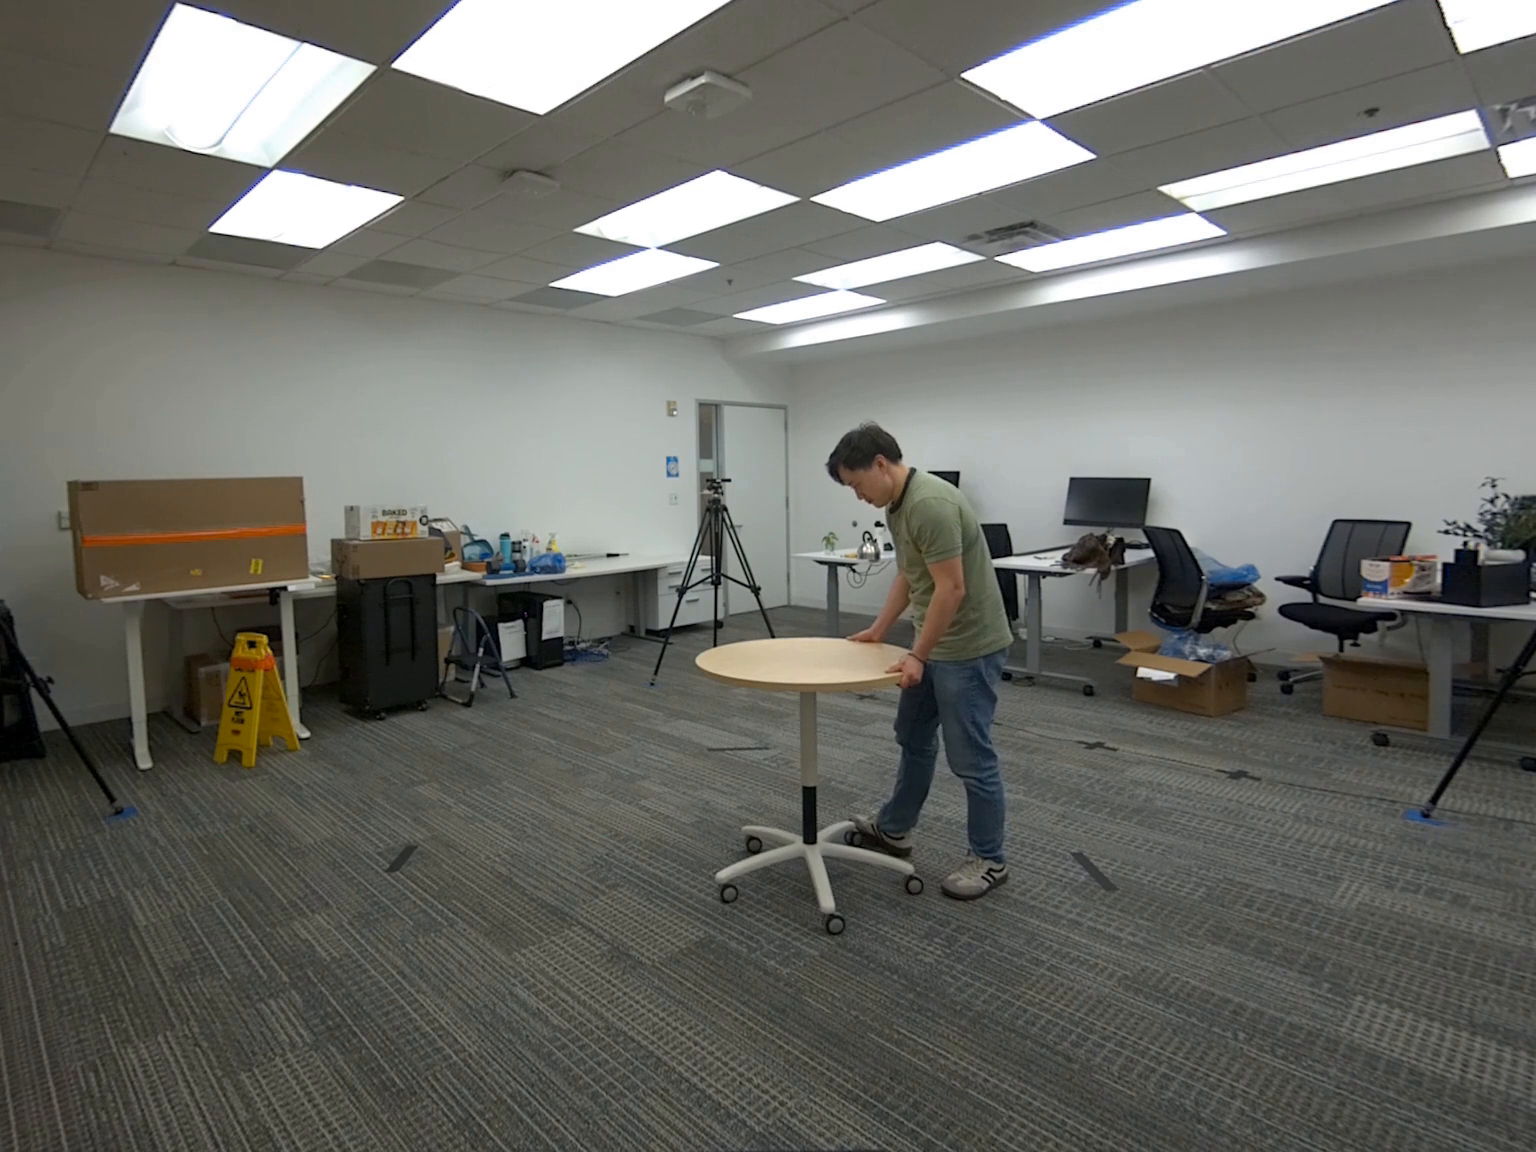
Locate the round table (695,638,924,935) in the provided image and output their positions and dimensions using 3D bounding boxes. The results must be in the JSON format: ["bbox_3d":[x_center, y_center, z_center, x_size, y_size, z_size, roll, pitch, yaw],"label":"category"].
[{"bbox_3d":[0.135,0.670,2.936,0.763,0.791,0.768,-1,5,-2],"label":"round table"}]
